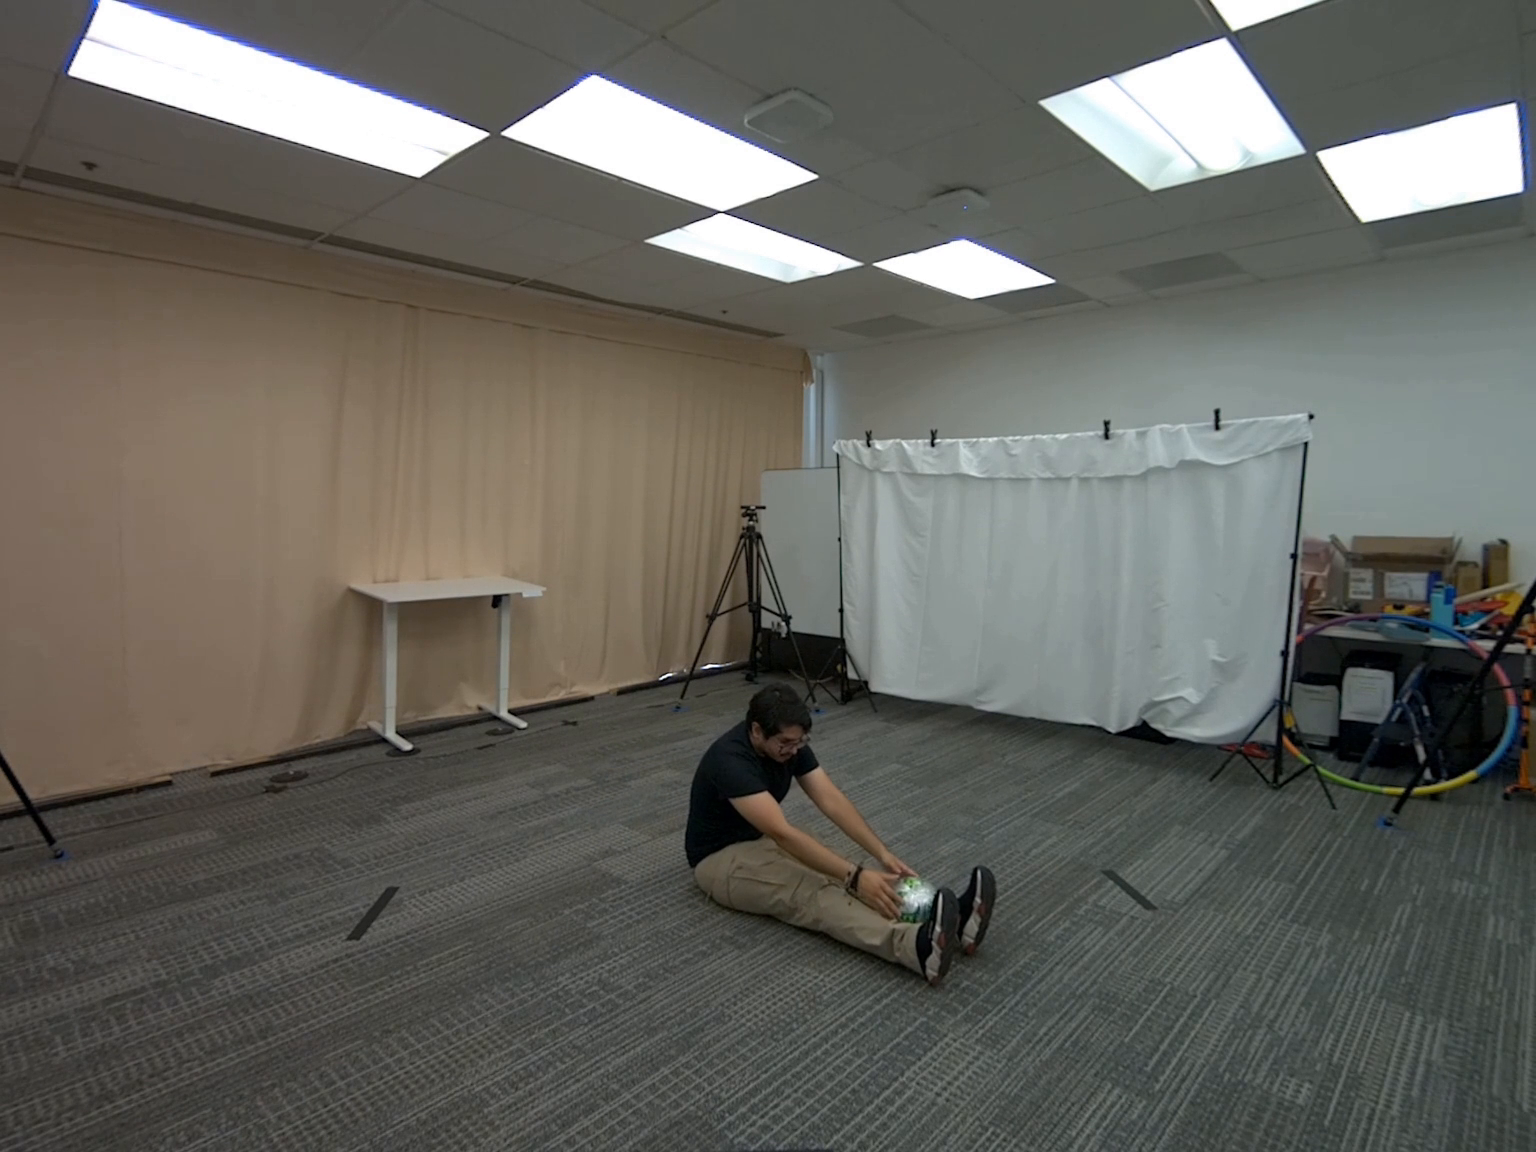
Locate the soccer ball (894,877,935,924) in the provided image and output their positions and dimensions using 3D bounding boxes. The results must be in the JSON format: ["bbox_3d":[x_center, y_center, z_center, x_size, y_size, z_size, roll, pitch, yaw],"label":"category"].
[{"bbox_3d":[0.451,1.042,2.587,0.187,0.187,0.188,0,4,-2],"label":"soccer ball"}]
